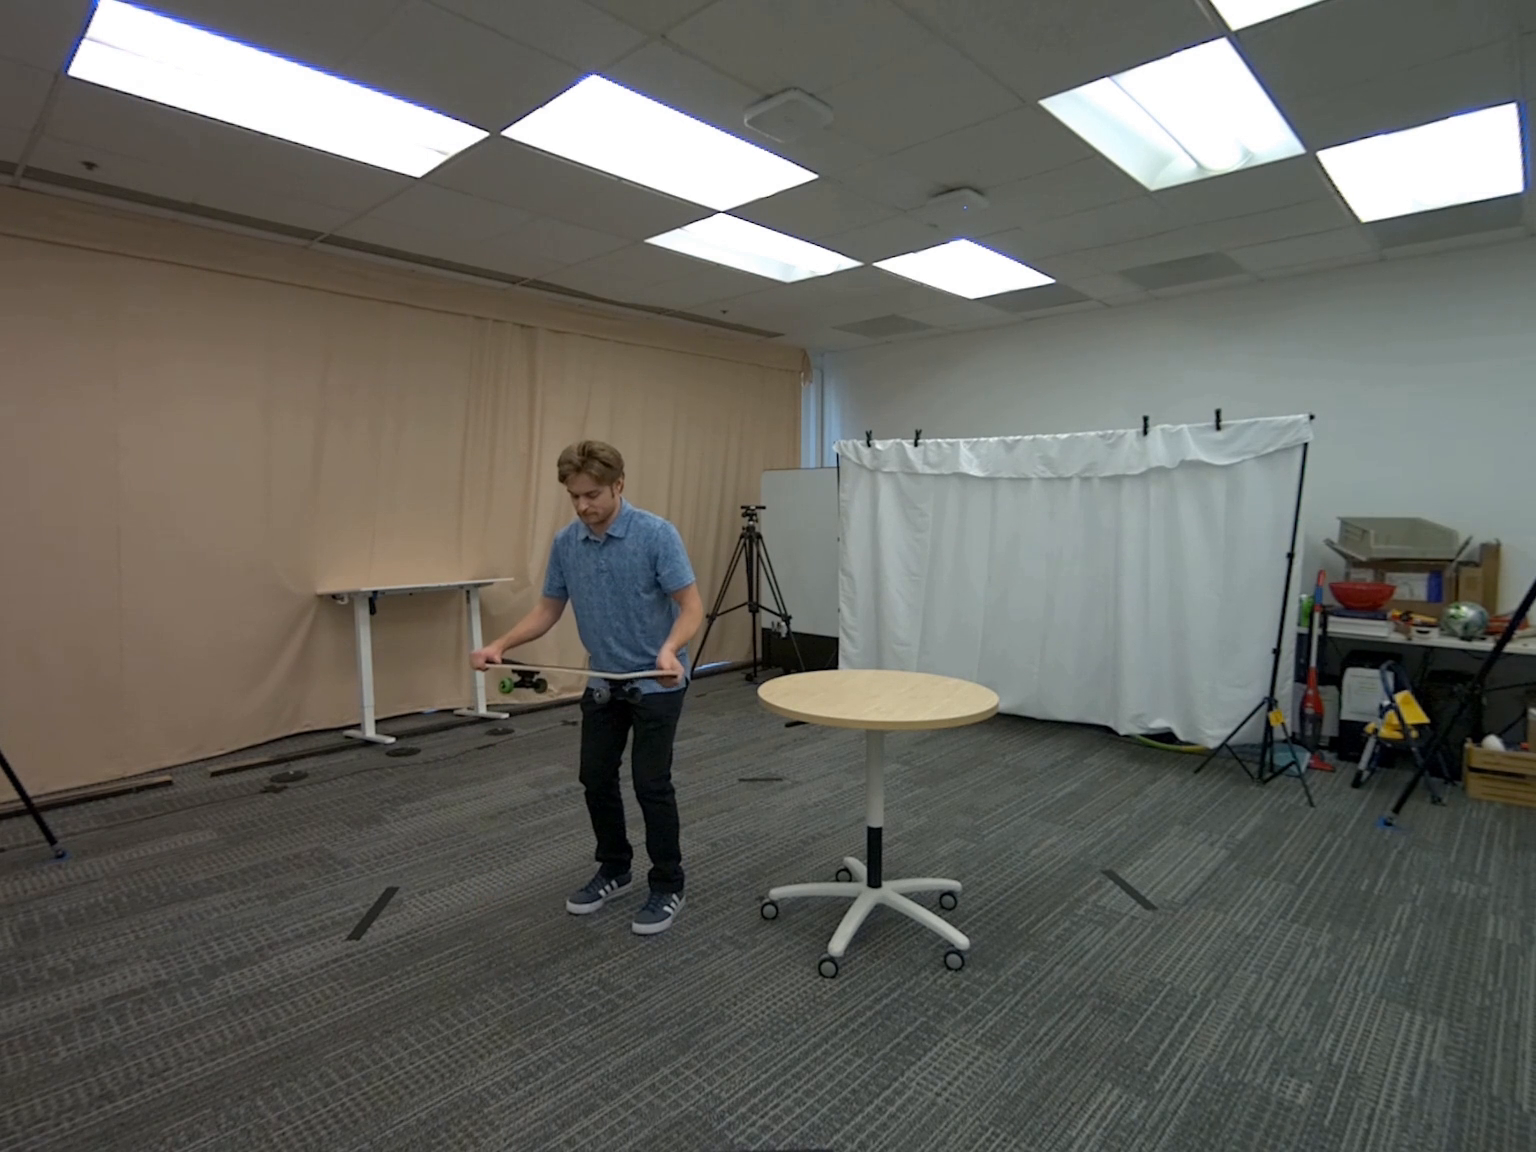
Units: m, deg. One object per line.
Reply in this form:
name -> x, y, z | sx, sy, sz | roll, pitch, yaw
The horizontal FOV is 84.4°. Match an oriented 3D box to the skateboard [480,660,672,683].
skateboard -> -0.627, 0.333, 2.635 | 0.808, 0.111, 0.187 | 1, -7, 31
